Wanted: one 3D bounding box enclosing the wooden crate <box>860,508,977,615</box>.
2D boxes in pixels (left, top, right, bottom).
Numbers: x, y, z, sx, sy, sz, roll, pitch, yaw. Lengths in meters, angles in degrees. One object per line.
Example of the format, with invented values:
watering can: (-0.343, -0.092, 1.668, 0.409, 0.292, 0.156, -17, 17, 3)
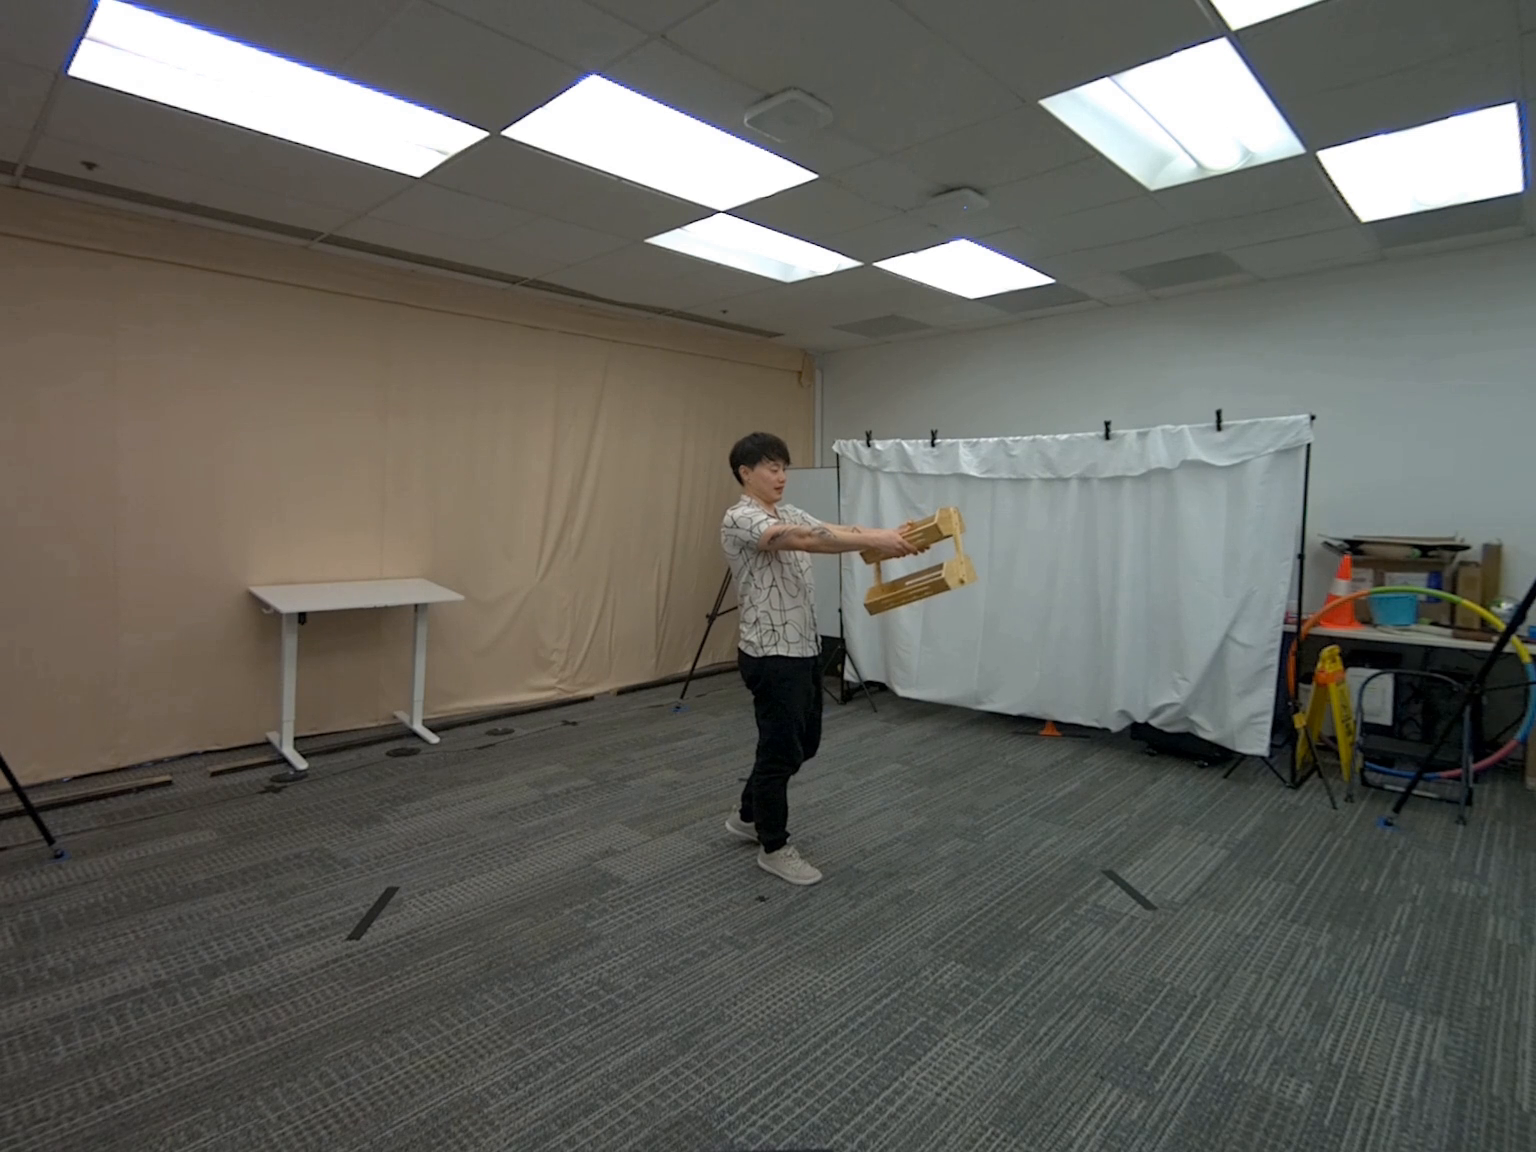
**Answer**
wooden crate: (0.489, -0.057, 2.825, 0.331, 0.275, 0.294, -22, -7, 35)
